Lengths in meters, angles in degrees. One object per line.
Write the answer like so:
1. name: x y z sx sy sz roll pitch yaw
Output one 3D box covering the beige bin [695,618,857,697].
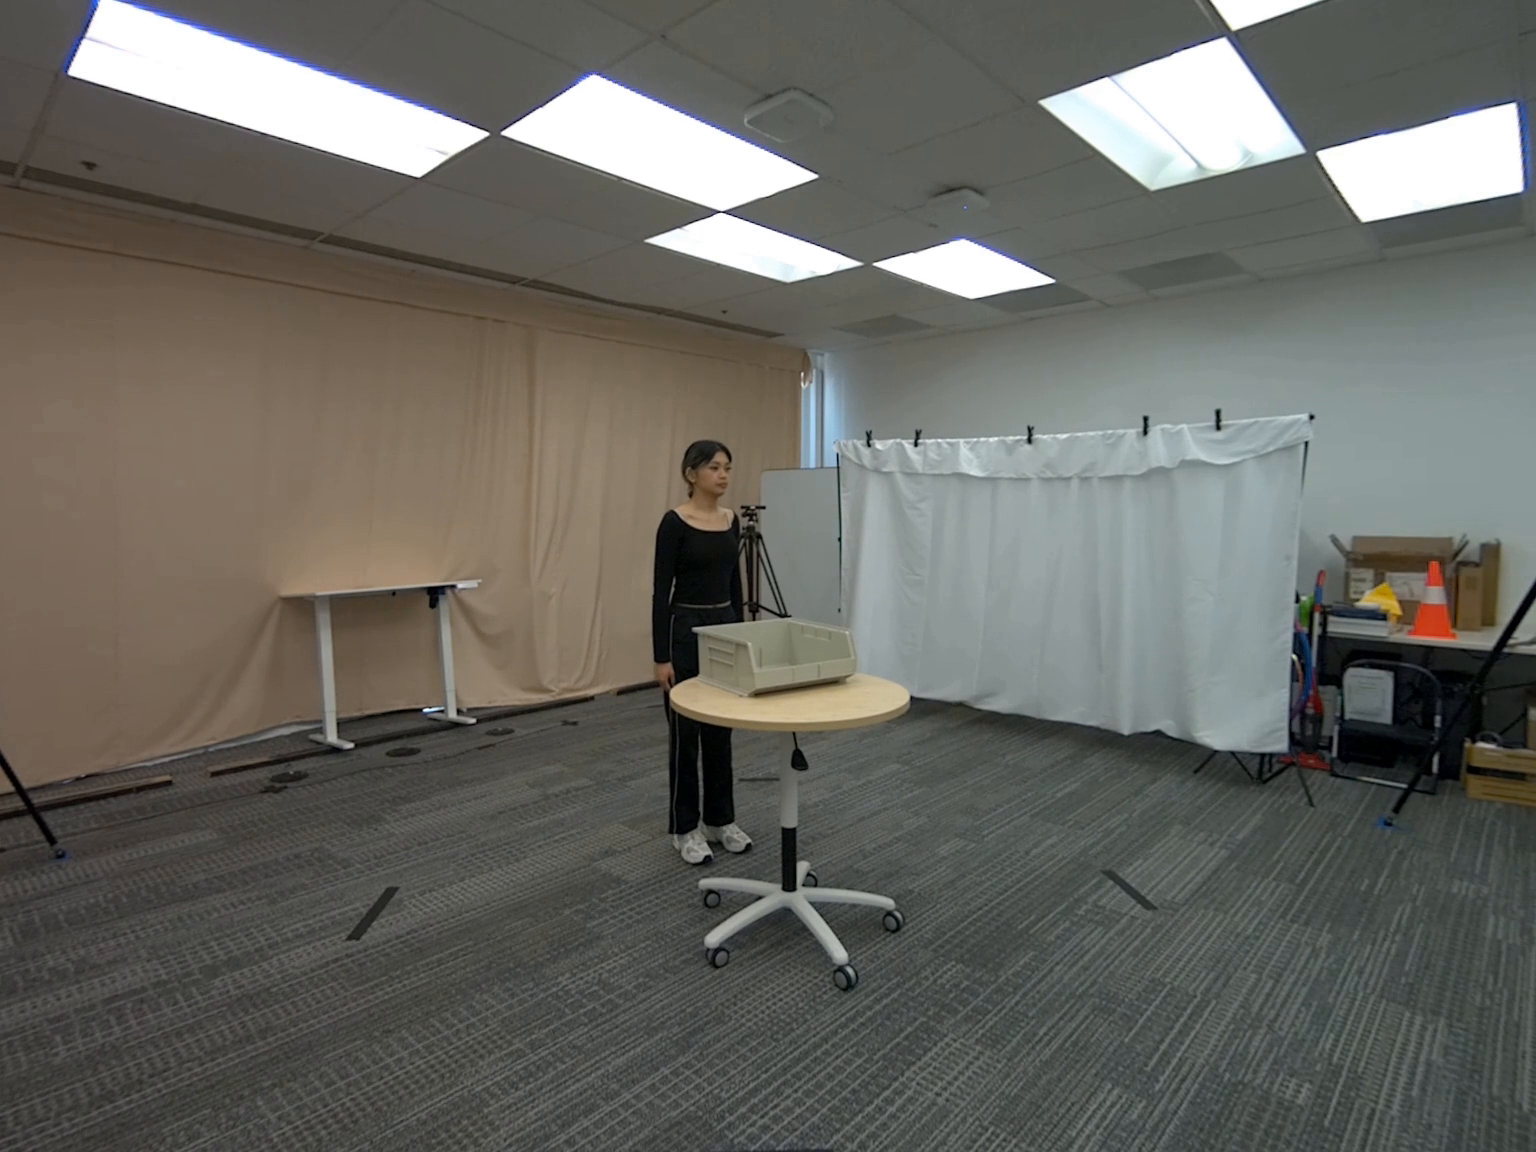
1. beige bin: 0.026 0.270 2.852 0.410 0.188 0.389 -4 5 -33
